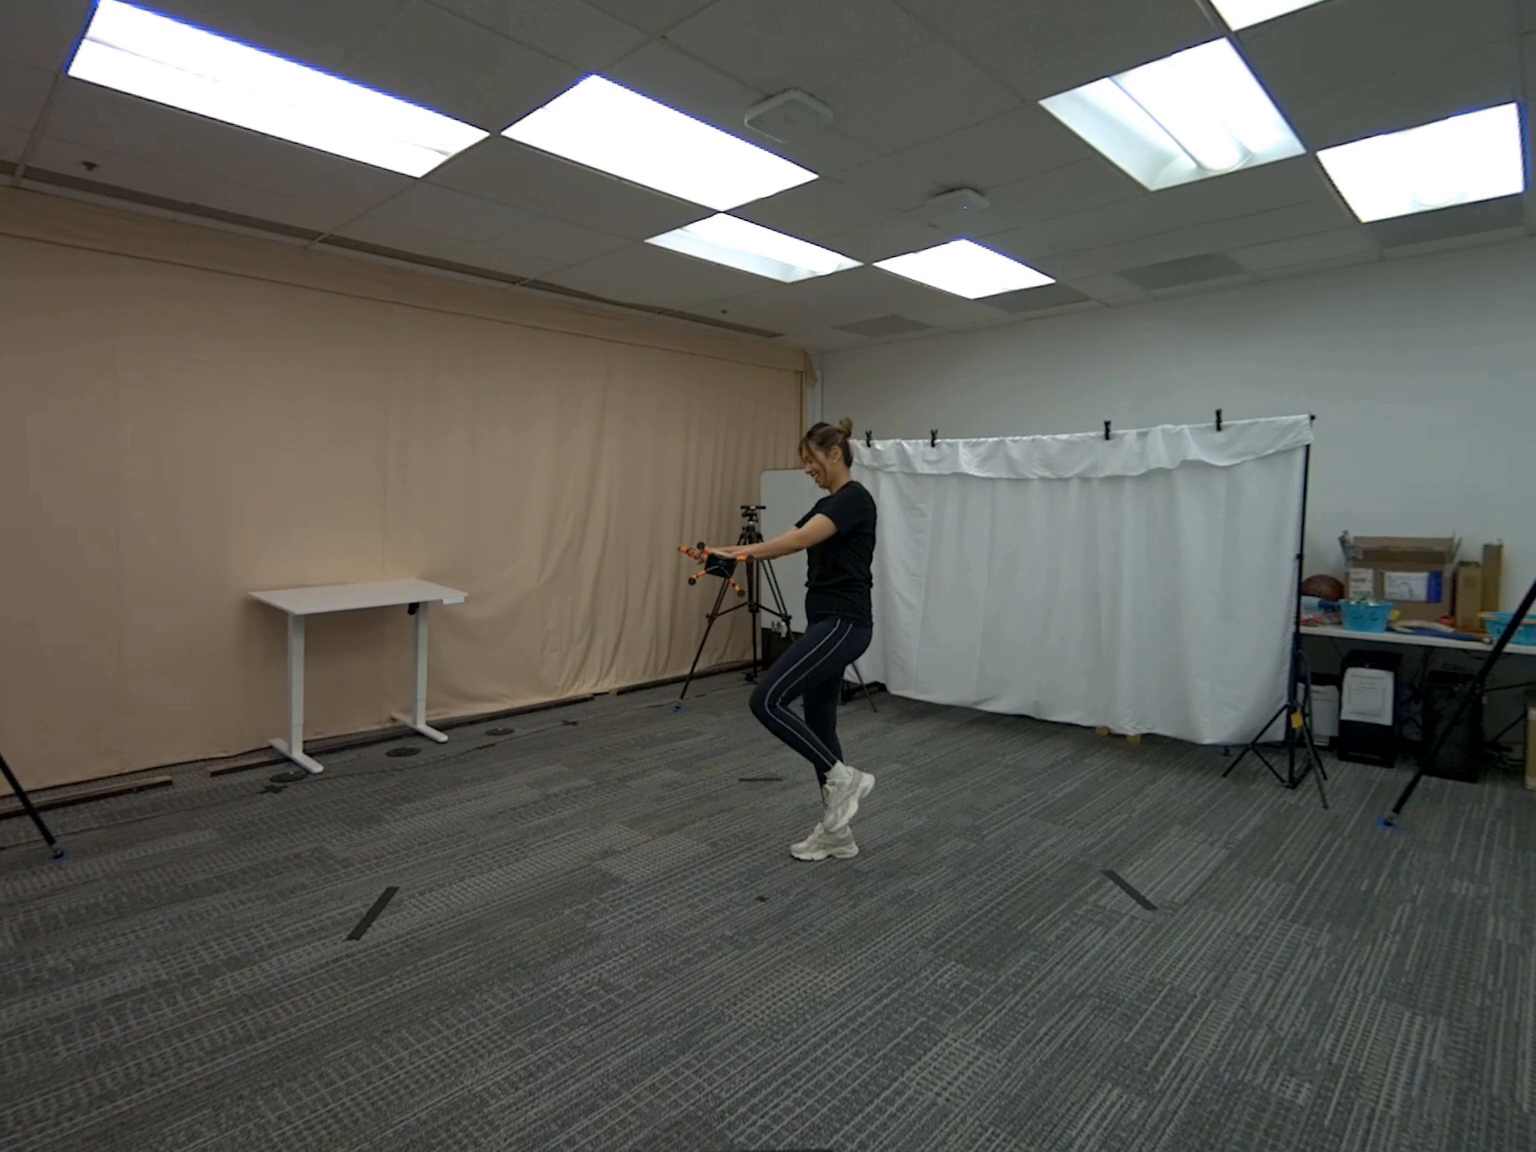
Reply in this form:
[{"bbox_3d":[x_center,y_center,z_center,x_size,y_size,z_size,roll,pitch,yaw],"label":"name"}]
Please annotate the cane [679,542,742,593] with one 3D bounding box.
[{"bbox_3d":[-0.240,-0.045,3.315,0.204,0.151,0.919,15,2,-12],"label":"cane"}]
